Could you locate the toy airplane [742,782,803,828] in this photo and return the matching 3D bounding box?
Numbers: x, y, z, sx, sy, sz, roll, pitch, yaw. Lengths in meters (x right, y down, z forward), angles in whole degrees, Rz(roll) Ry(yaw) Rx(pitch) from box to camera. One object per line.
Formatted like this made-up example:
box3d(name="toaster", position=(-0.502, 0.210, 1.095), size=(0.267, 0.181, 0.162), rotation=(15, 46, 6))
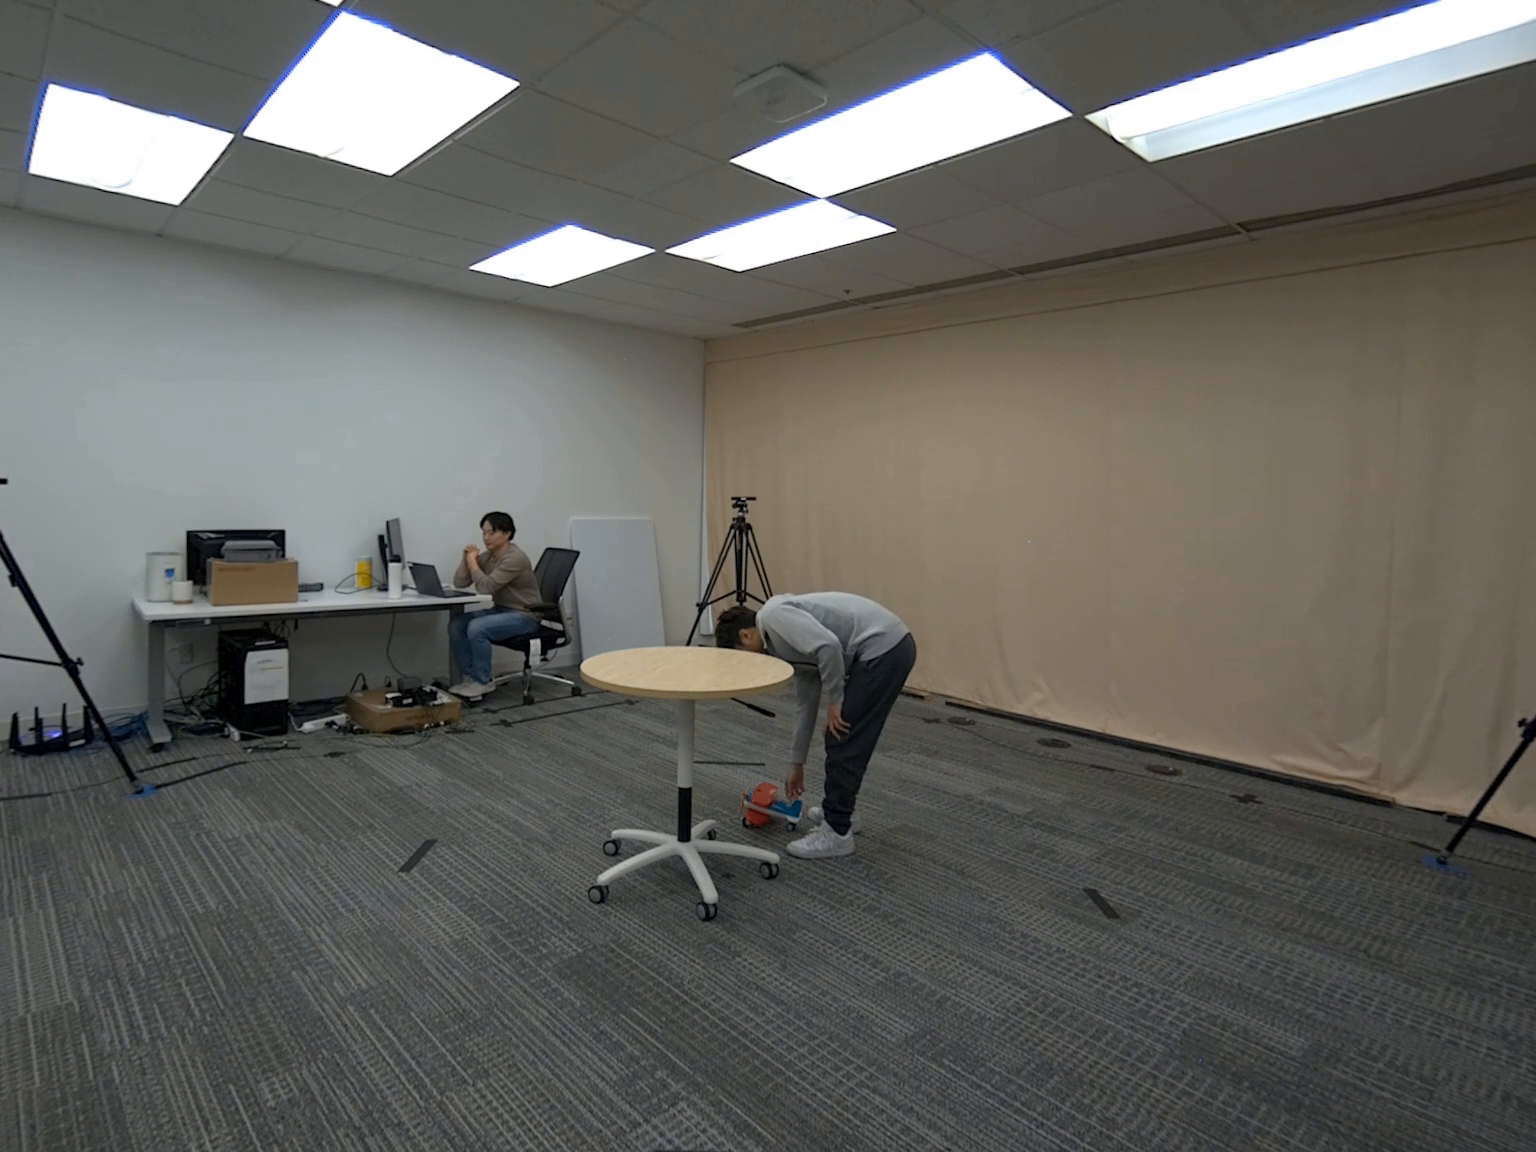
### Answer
box3d(name="toy airplane", position=(0.003, 0.996, 3.602), size=(0.256, 0.156, 0.254), rotation=(0, 4, -14))
